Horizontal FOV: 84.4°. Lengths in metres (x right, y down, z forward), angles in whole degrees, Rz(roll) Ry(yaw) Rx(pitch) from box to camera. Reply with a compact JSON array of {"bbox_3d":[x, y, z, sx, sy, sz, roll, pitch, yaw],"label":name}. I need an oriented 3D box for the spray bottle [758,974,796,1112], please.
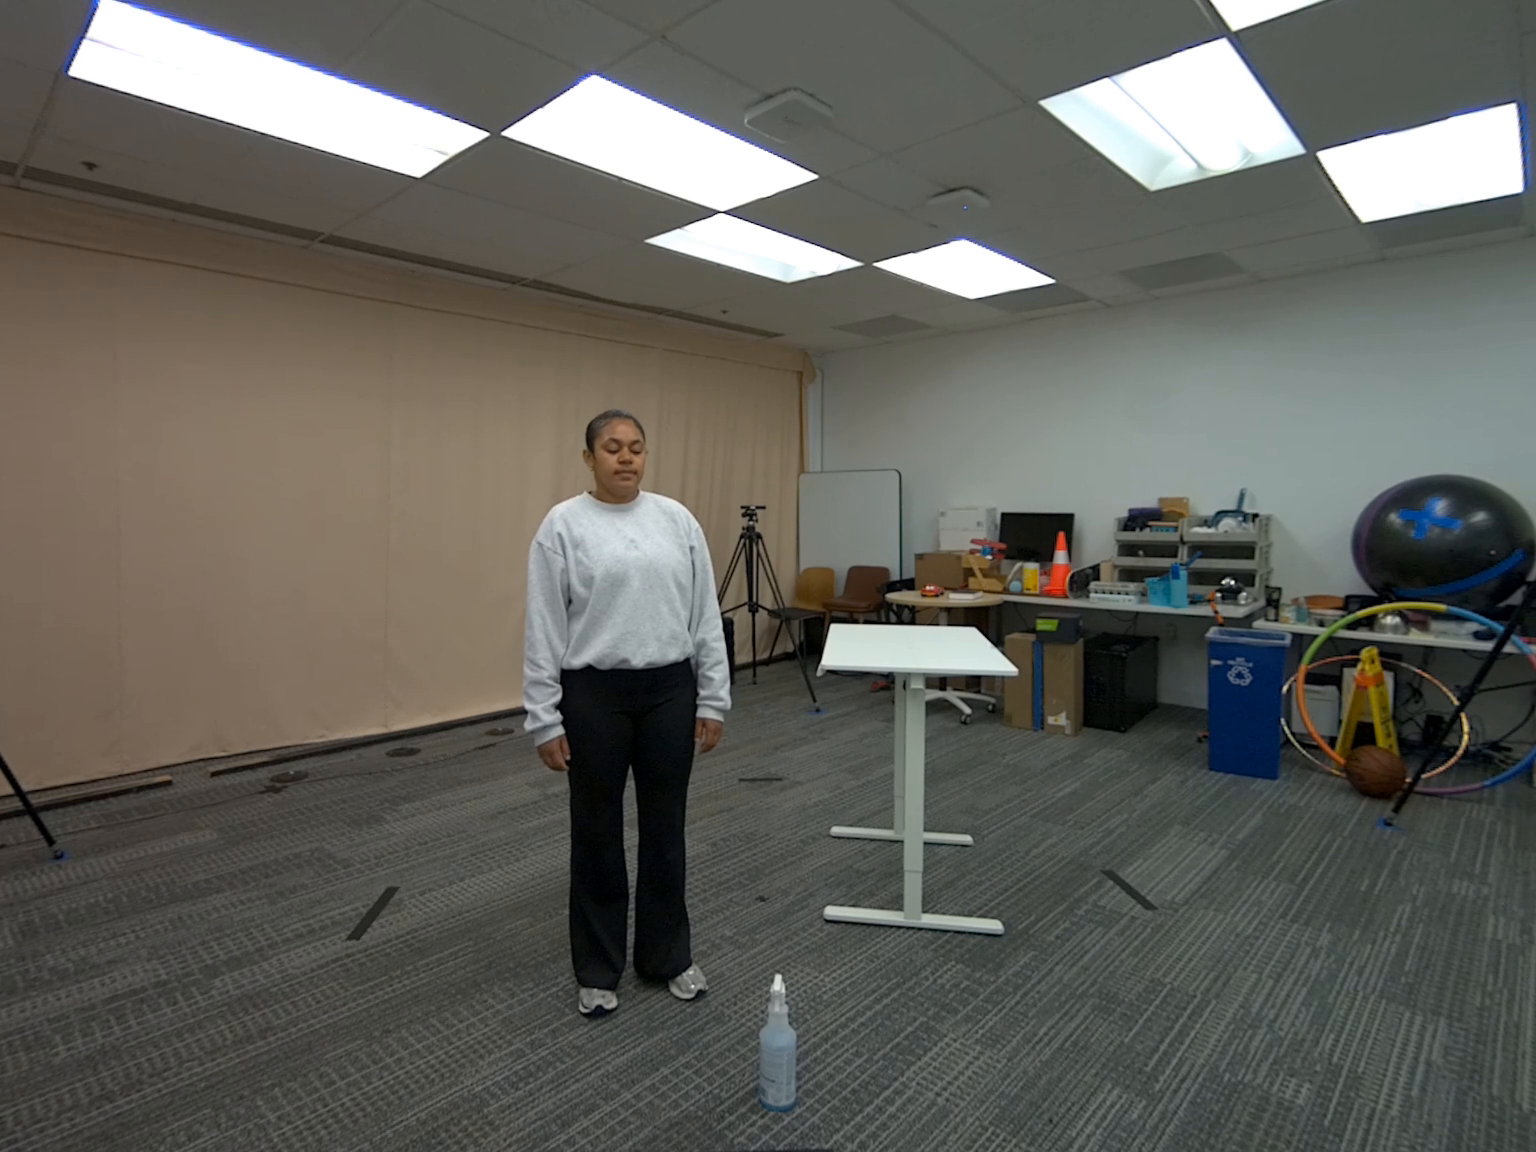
[{"bbox_3d":[0.029,1.087,1.962,0.089,0.296,0.088,3,5,30],"label":"spray bottle"}]
